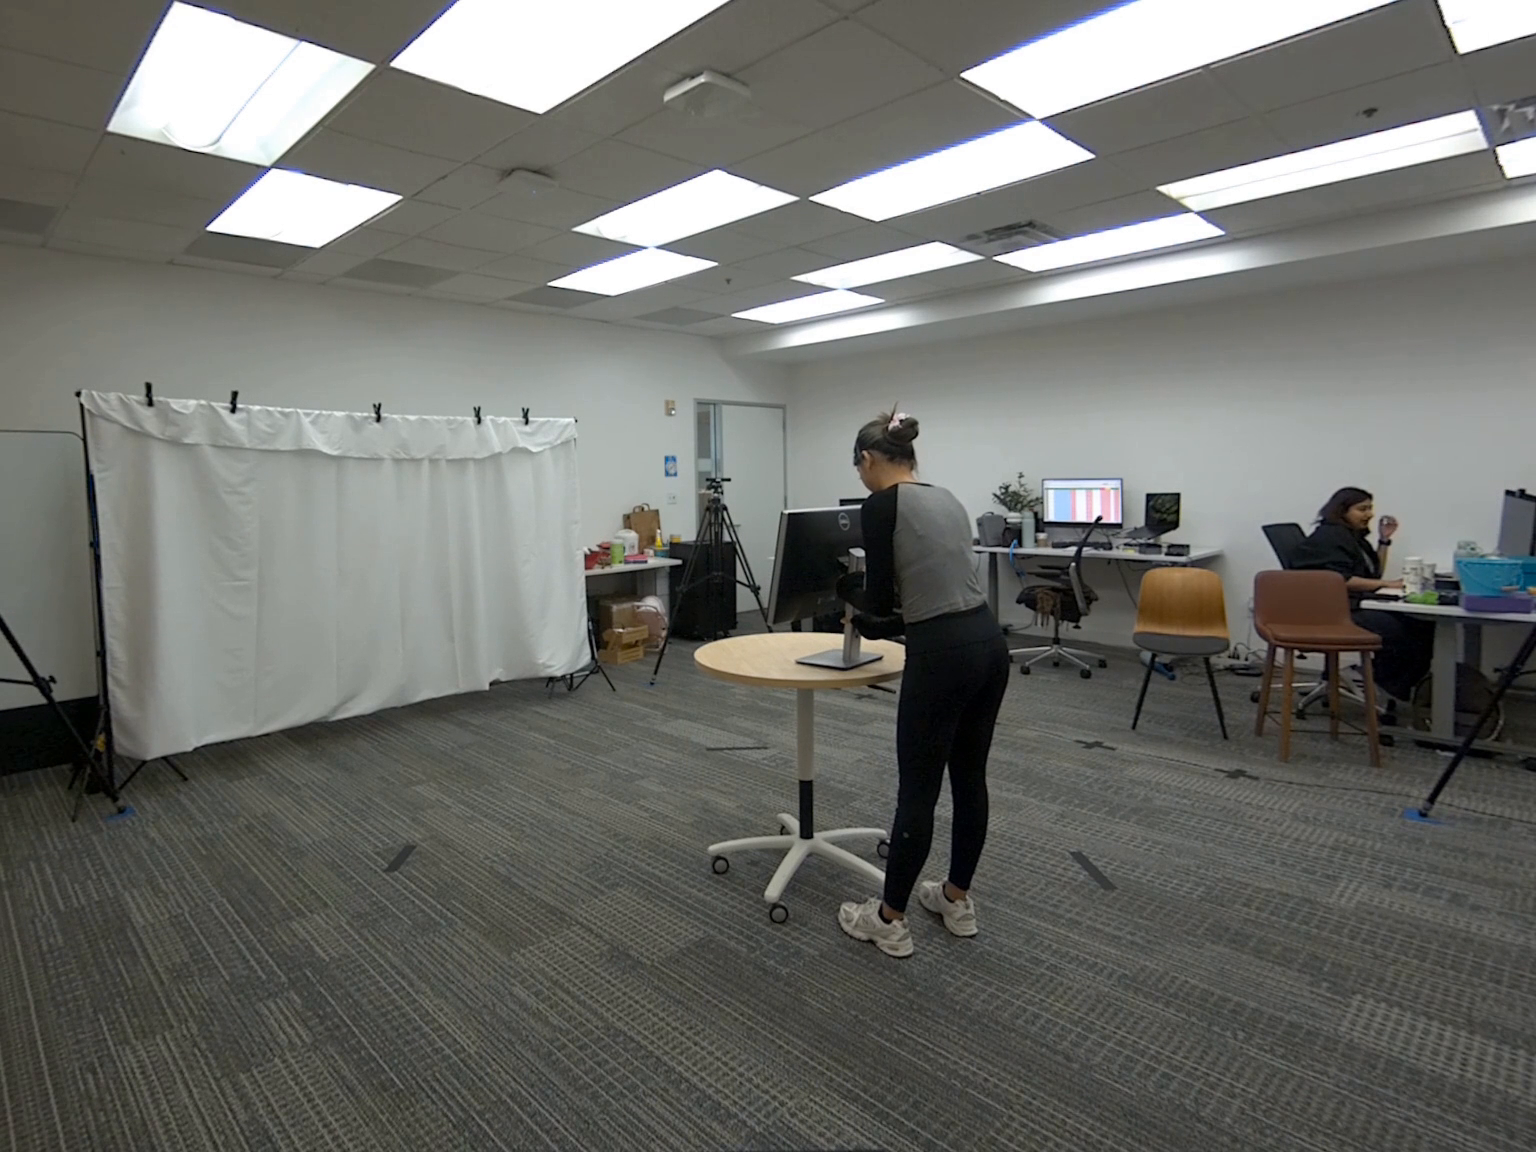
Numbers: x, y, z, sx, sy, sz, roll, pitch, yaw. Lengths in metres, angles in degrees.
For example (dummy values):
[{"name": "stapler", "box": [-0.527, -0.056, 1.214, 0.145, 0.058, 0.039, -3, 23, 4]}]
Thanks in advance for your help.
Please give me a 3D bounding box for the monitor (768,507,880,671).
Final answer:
[{"name": "monitor", "box": [0.233, 0.033, 2.810, 0.179, 0.516, 0.517, -8, 1, 41]}]
